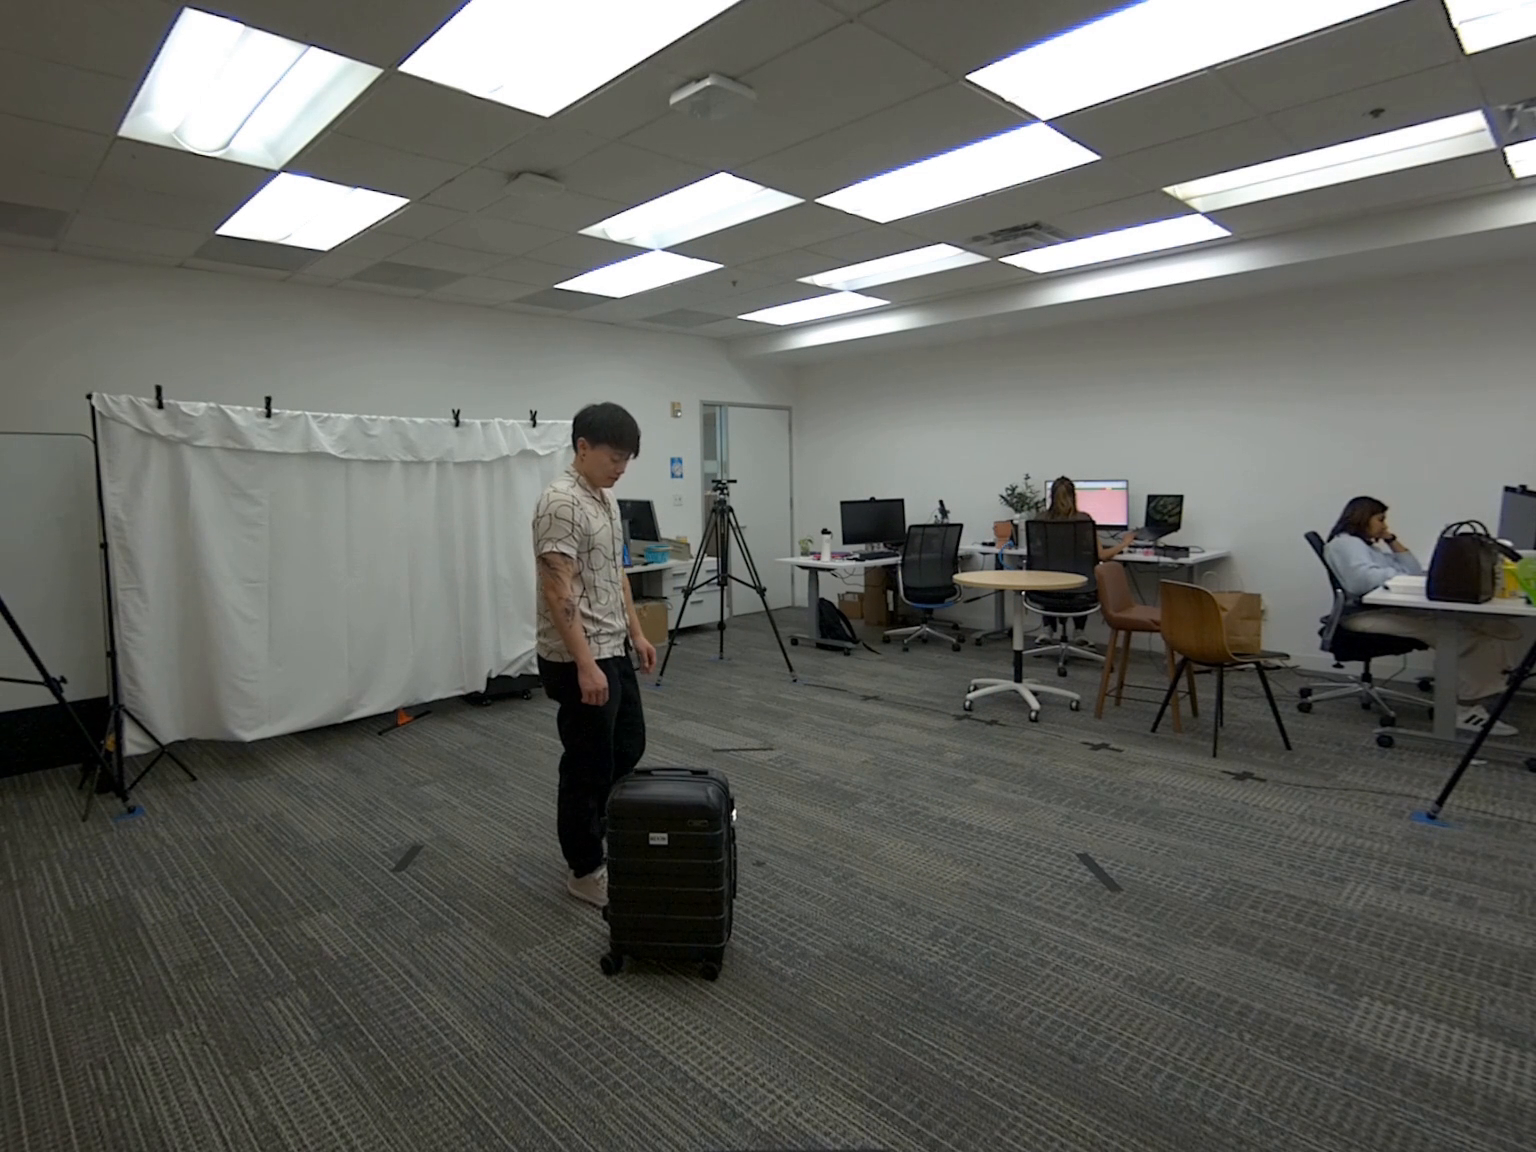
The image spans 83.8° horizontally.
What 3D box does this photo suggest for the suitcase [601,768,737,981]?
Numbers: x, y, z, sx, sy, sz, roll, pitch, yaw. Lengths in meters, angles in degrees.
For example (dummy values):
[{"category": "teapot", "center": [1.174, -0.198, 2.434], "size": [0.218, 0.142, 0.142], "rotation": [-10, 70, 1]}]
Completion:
[{"category": "suitcase", "center": [-0.279, 0.848, 2.500], "size": [0.377, 0.547, 0.248], "rotation": [0, 4, 4]}]
